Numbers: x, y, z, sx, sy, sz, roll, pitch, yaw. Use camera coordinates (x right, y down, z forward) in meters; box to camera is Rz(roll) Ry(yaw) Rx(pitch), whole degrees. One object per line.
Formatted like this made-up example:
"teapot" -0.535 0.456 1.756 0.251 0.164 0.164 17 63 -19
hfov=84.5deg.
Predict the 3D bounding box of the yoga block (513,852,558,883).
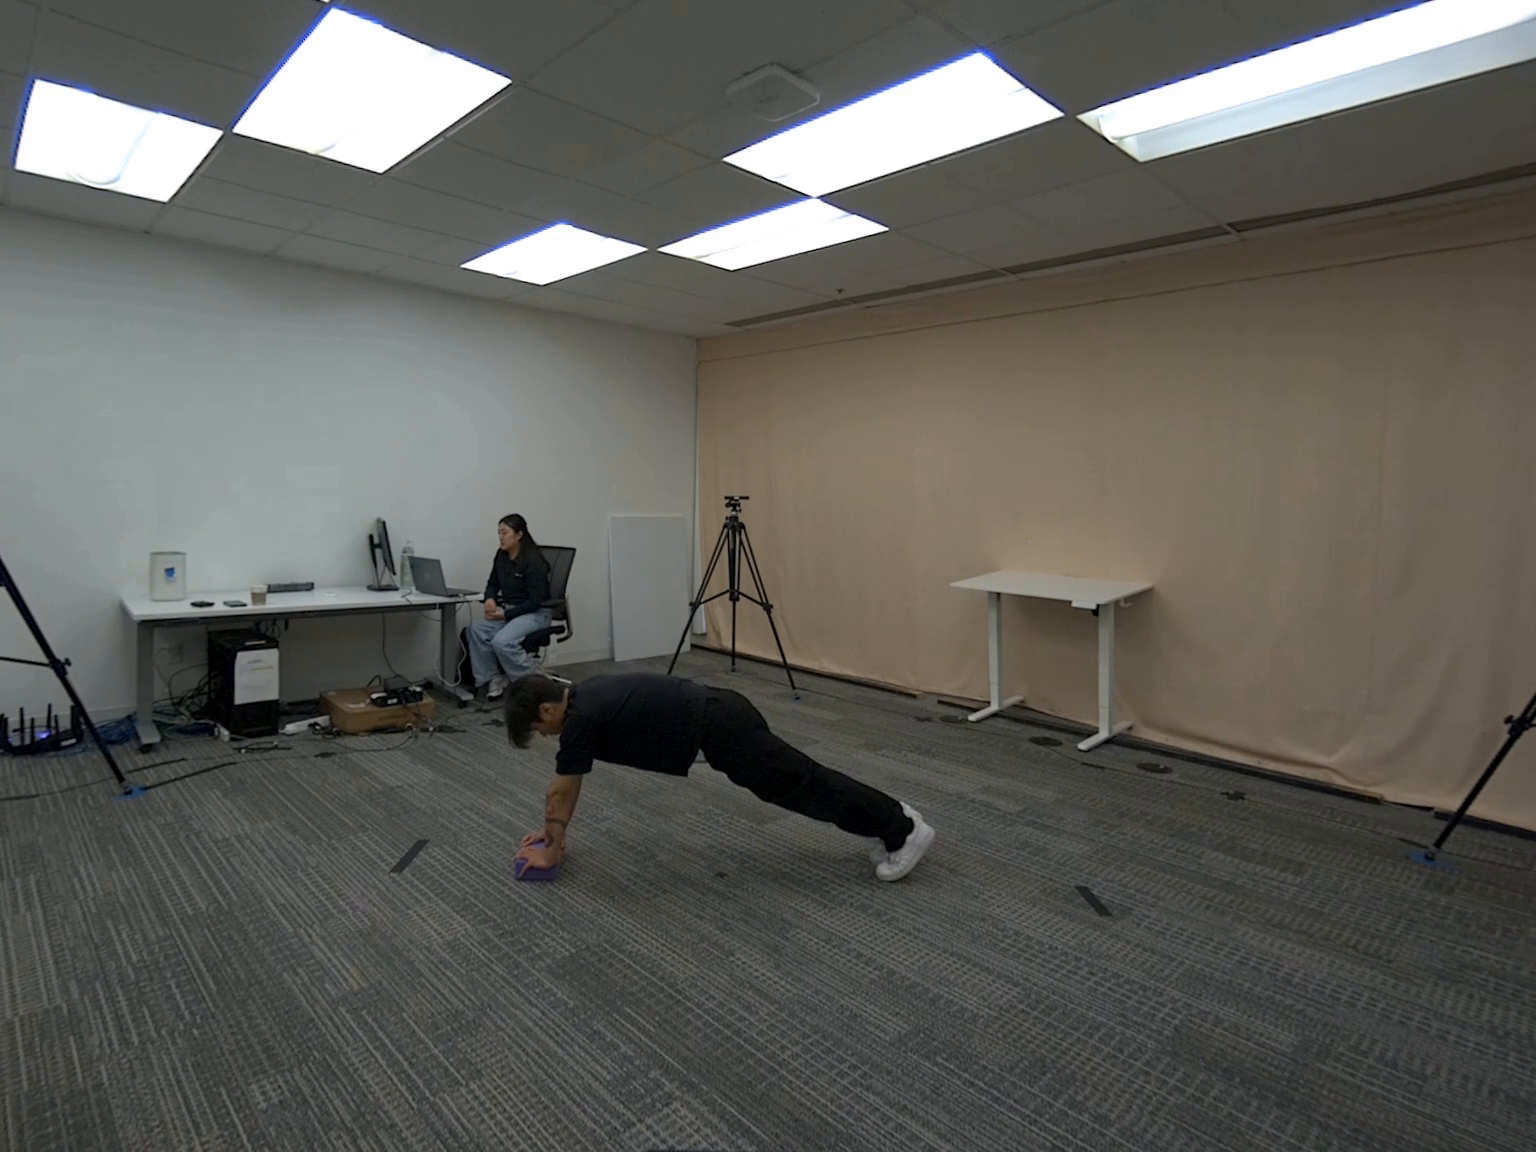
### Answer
"yoga block" -0.844 1.043 3.136 0.148 0.076 0.231 -1 5 -5
